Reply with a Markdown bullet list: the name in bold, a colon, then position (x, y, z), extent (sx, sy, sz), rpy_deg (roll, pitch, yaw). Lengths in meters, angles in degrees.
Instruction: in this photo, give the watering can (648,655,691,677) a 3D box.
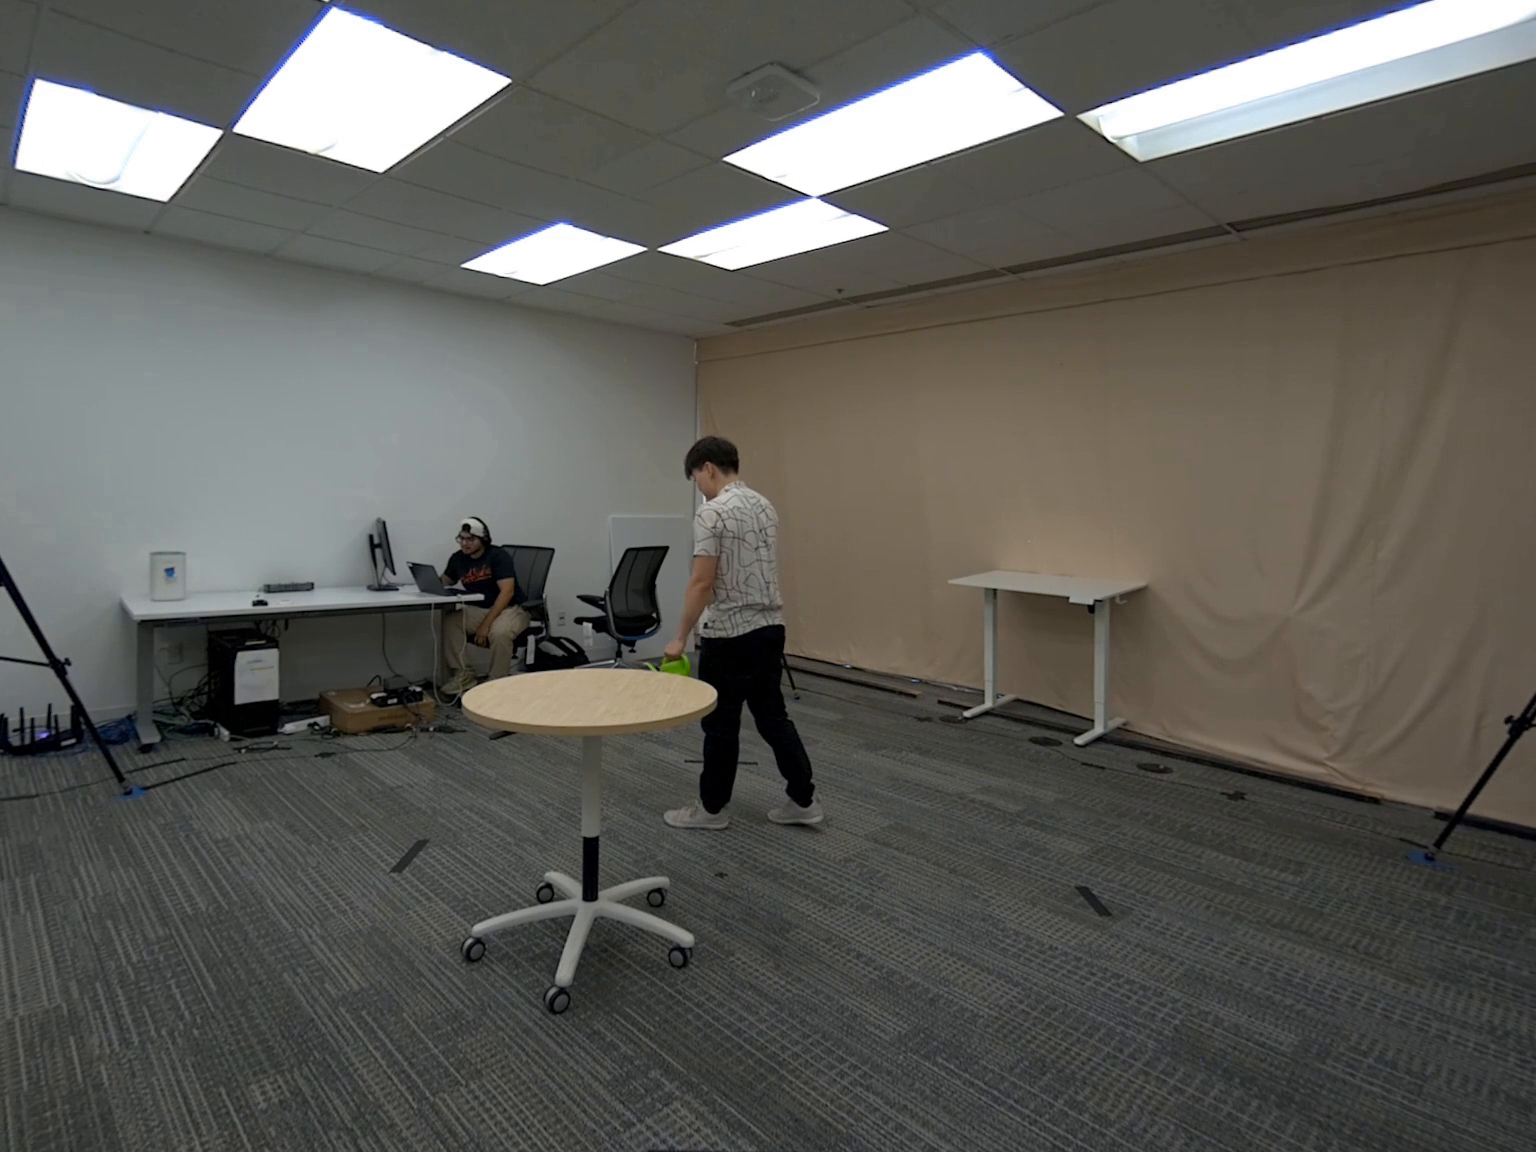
- **watering can**: position (-0.399, 0.404, 3.434), extent (0.096, 0.178, 0.281), rpy_deg (-9, -10, -32)
